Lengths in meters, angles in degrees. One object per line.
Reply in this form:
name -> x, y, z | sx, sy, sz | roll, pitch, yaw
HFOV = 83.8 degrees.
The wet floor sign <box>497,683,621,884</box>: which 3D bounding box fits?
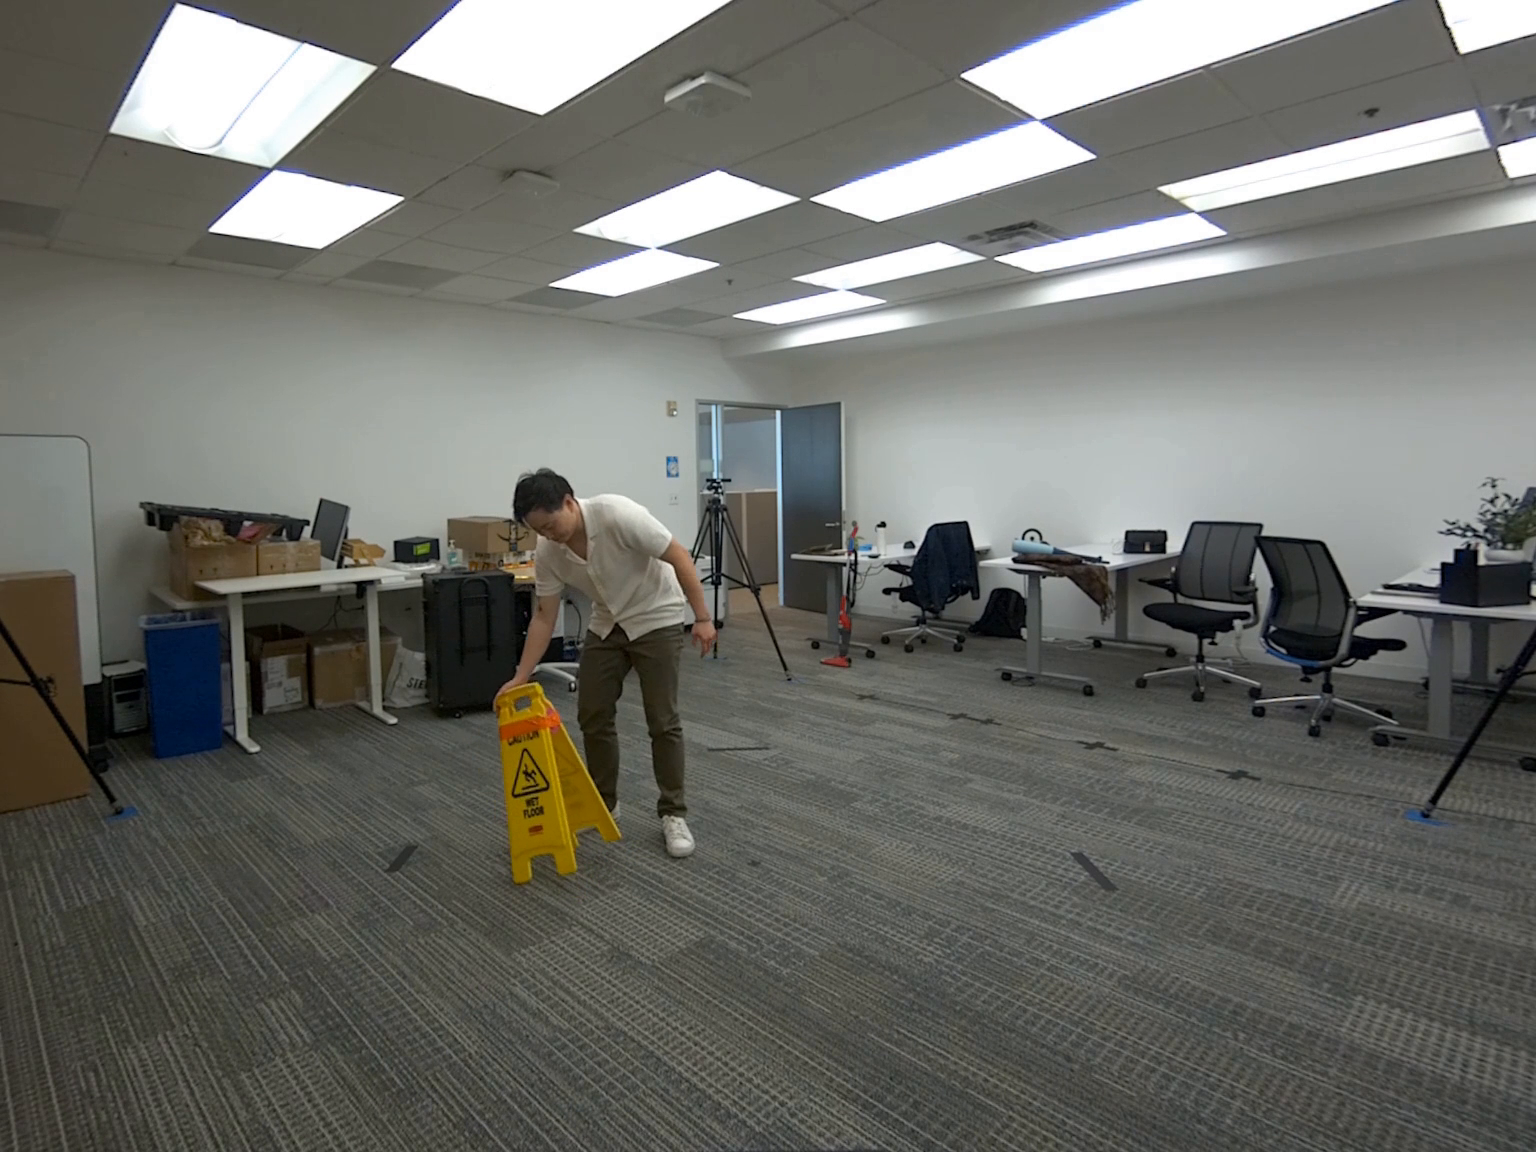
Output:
wet floor sign -> -0.813, 0.717, 3.089 | 0.286, 0.649, 0.284 | -21, -4, 24
